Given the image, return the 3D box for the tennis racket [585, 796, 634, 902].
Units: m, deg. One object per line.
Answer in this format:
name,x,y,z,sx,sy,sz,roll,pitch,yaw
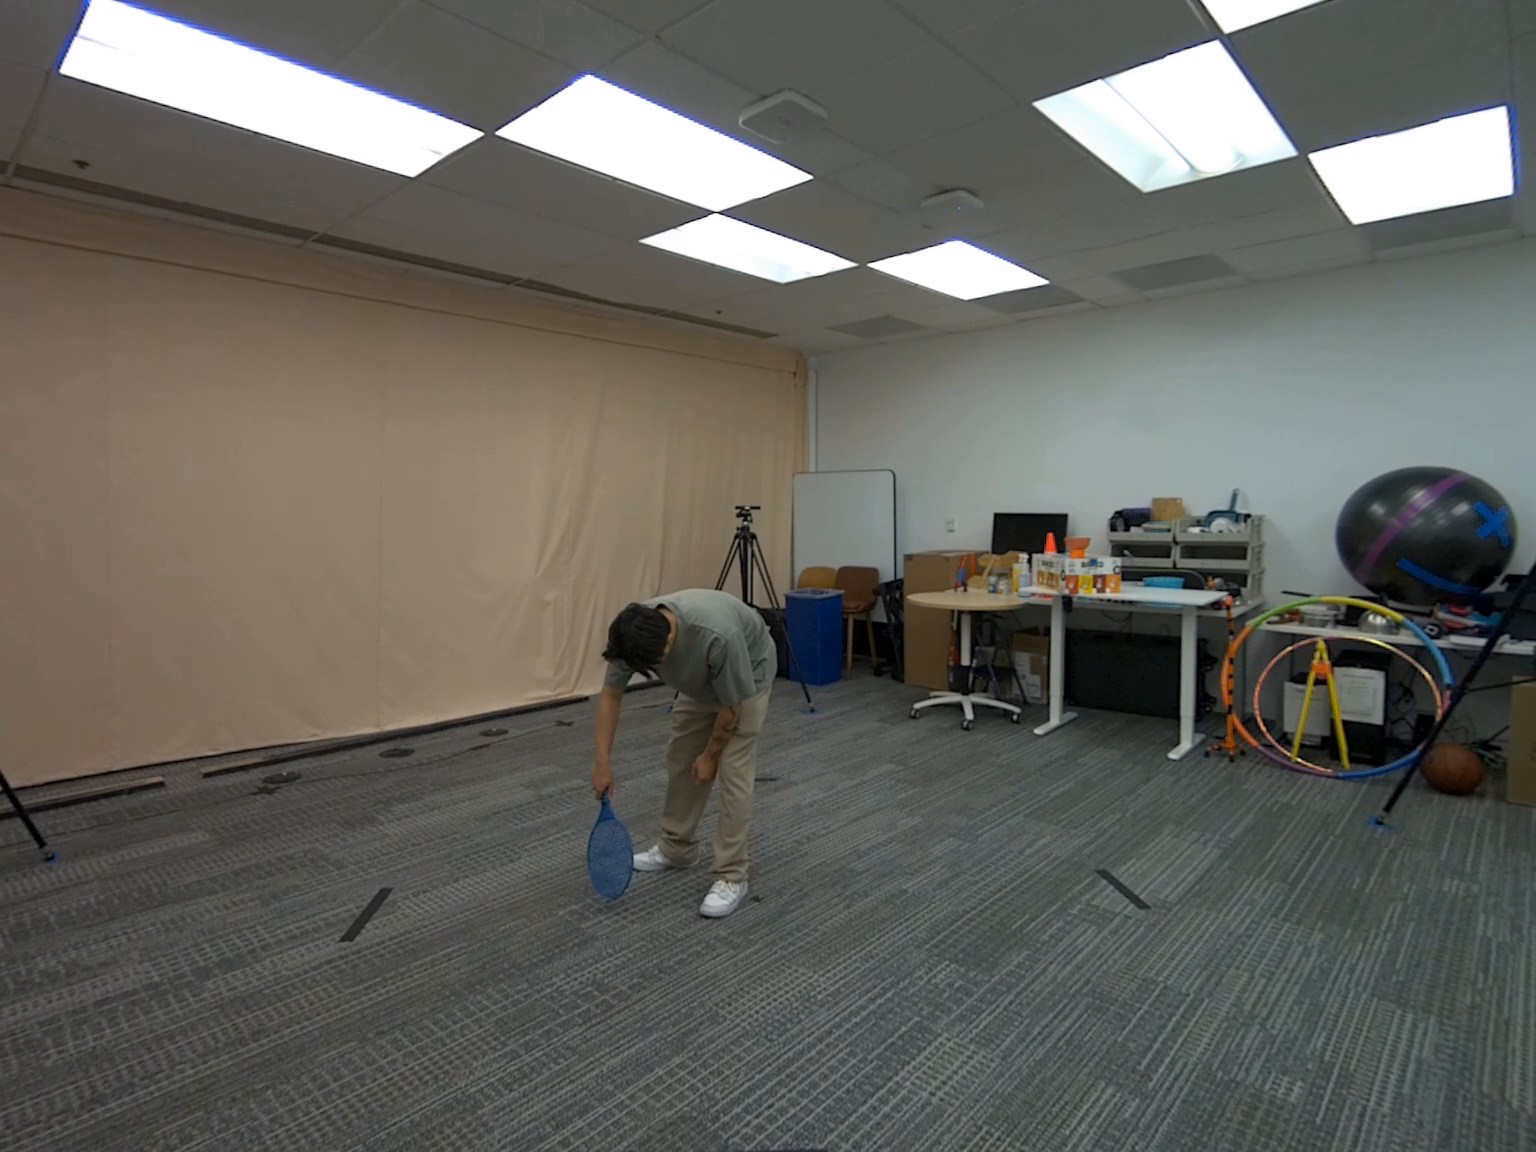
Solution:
tennis racket,-0.540,0.890,2.921,0.218,0.440,0.030,-20,-26,30
